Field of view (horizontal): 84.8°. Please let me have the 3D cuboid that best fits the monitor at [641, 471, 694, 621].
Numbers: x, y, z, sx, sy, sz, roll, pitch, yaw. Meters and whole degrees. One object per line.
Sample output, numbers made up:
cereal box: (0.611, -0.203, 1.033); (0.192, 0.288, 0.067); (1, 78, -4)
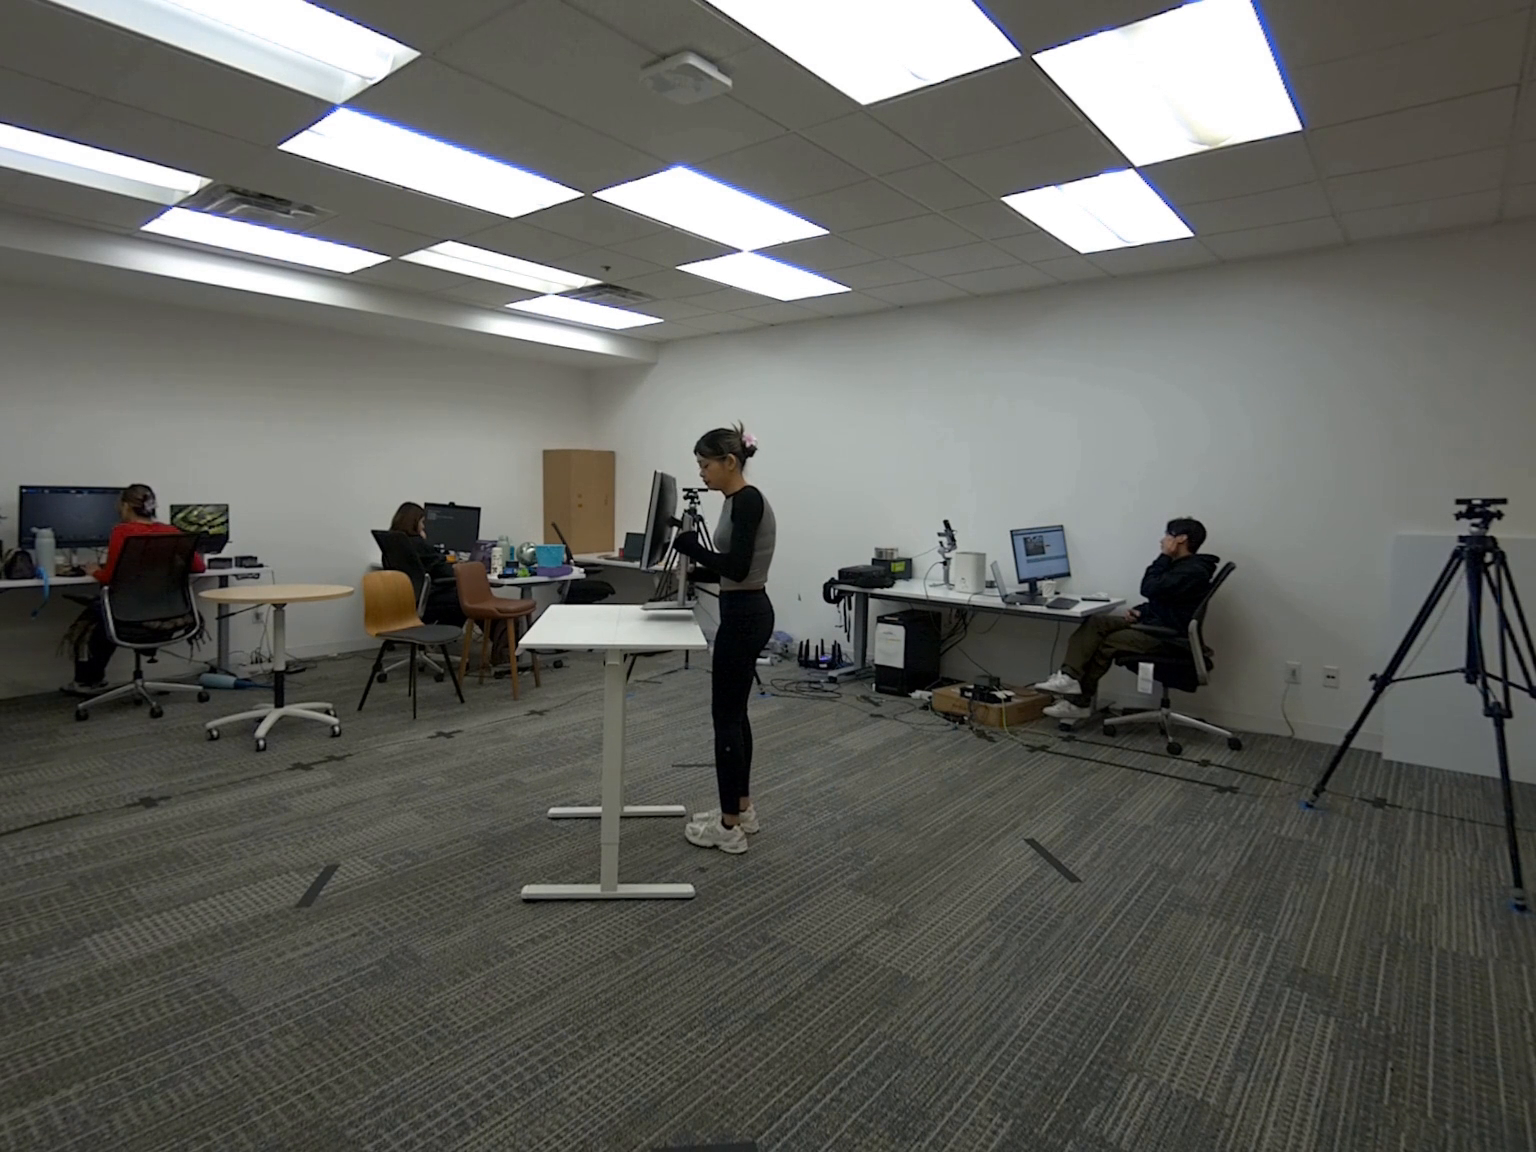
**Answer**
monitor: (-0.402, -0.134, 3.348); (0.187, 0.522, 0.540); (-3, 2, -2)
